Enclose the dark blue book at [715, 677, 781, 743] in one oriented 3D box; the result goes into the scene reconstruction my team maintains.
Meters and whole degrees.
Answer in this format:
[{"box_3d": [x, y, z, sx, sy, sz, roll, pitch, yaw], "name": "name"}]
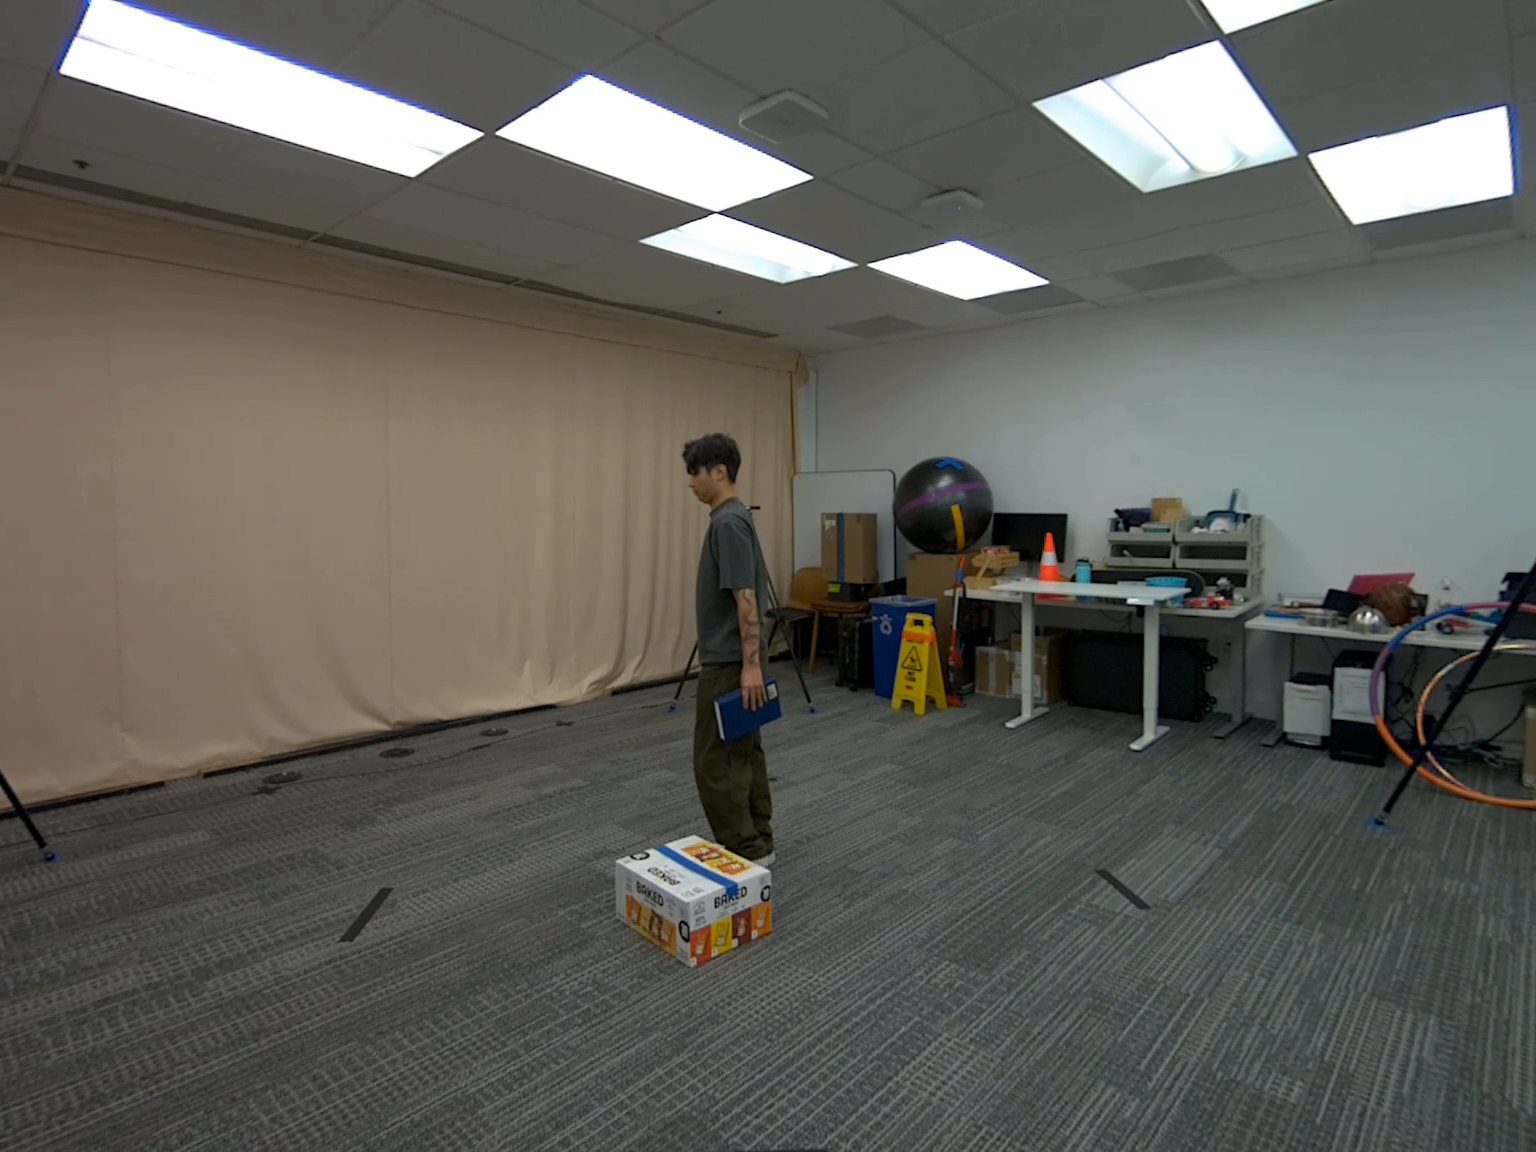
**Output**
[{"box_3d": [-0.078, 0.479, 3.018, 0.240, 0.161, 0.046, -17, 18, -24], "name": "dark blue book"}]
